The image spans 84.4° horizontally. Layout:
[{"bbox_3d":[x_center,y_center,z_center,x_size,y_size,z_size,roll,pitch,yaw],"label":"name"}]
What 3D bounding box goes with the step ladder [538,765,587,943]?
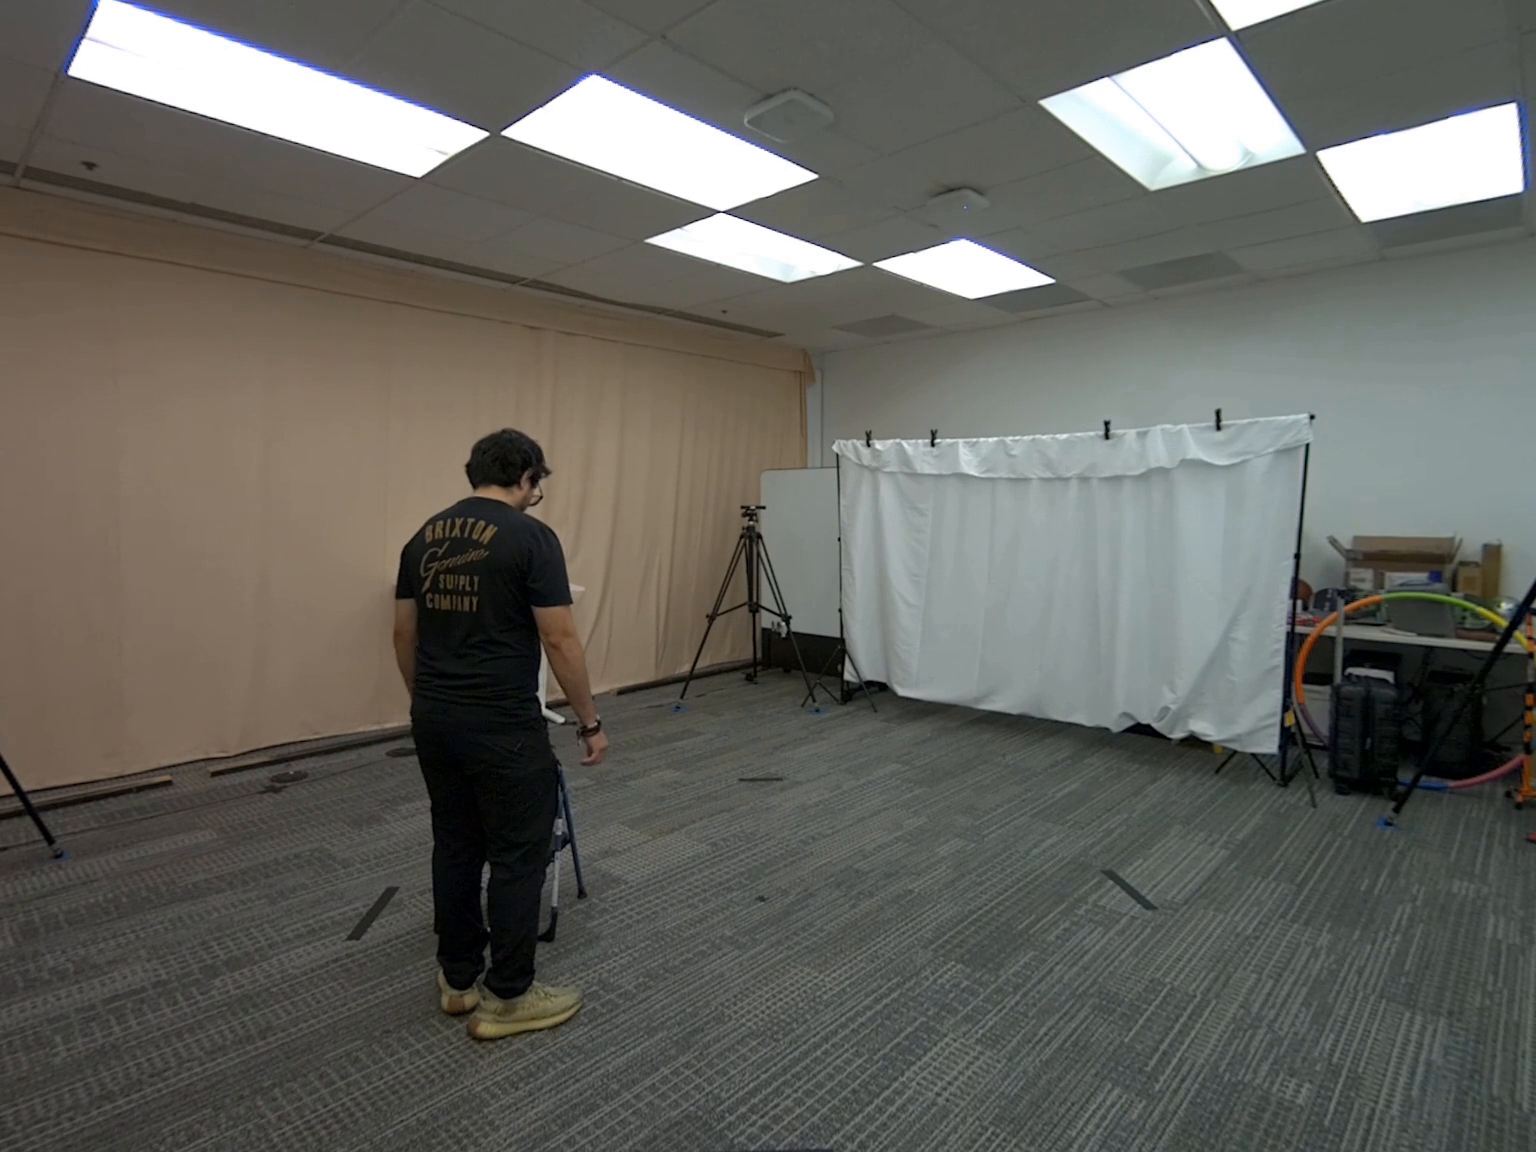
[{"bbox_3d":[-0.888,0.864,2.864,0.435,0.604,0.347,0,4,8],"label":"step ladder"}]
